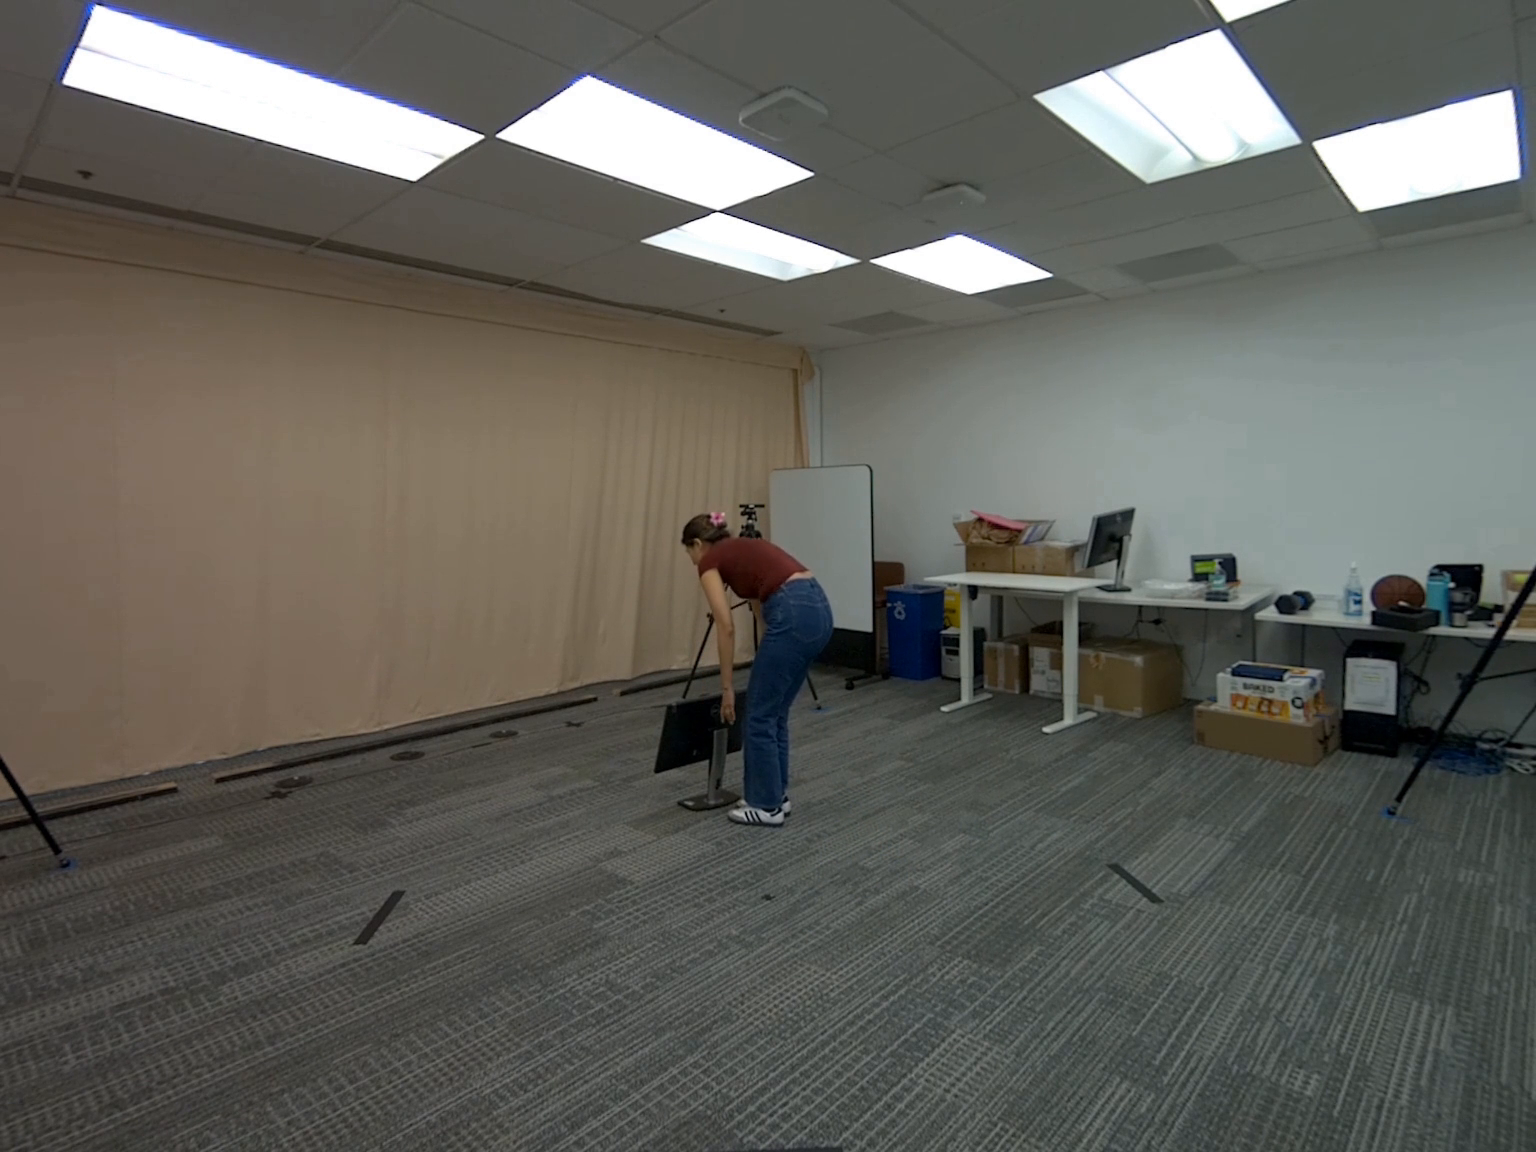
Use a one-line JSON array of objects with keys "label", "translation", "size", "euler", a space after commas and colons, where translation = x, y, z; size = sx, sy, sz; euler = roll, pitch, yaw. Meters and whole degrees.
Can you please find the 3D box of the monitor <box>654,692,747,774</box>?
[{"label": "monitor", "translation": [-0.273, 0.813, 3.950], "size": [0.523, 0.521, 0.193], "euler": [-4, 7, -43]}]
